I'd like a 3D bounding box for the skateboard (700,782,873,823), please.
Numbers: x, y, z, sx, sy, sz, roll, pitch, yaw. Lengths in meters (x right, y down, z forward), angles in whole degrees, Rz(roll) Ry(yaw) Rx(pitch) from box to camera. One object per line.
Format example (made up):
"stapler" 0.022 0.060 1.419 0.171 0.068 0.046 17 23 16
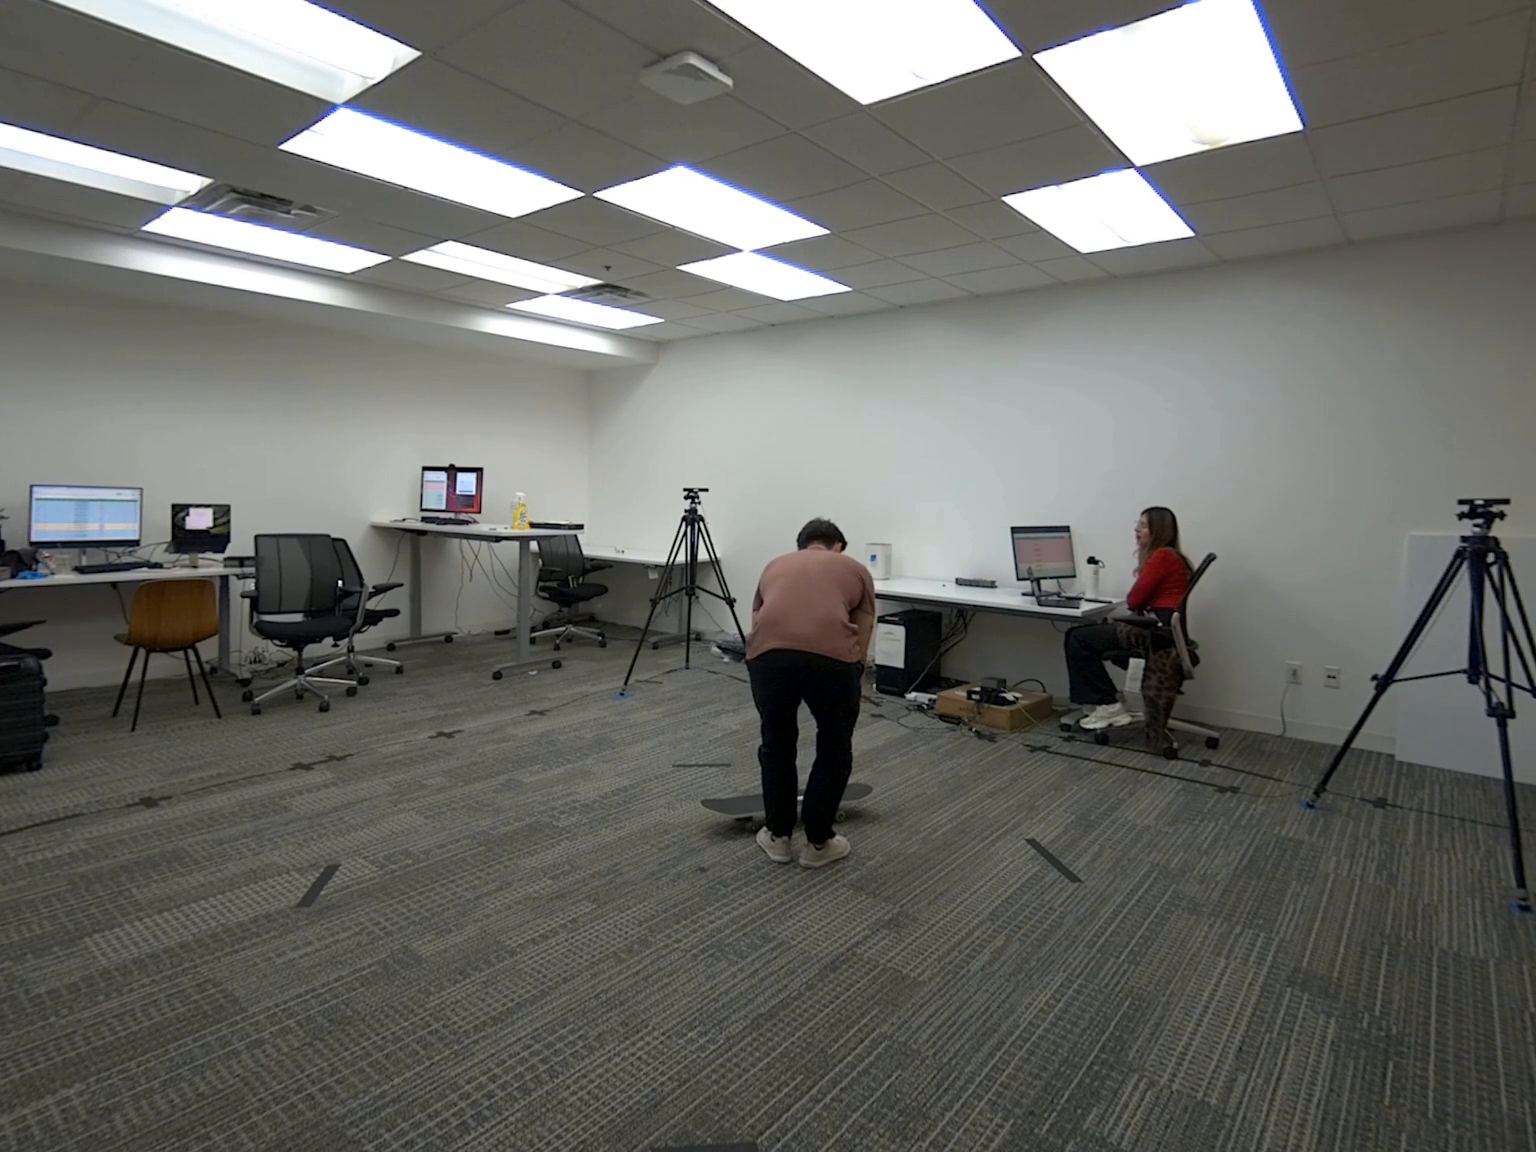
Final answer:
"skateboard" 0.082 0.969 3.588 0.769 0.110 0.198 -1 5 -21
